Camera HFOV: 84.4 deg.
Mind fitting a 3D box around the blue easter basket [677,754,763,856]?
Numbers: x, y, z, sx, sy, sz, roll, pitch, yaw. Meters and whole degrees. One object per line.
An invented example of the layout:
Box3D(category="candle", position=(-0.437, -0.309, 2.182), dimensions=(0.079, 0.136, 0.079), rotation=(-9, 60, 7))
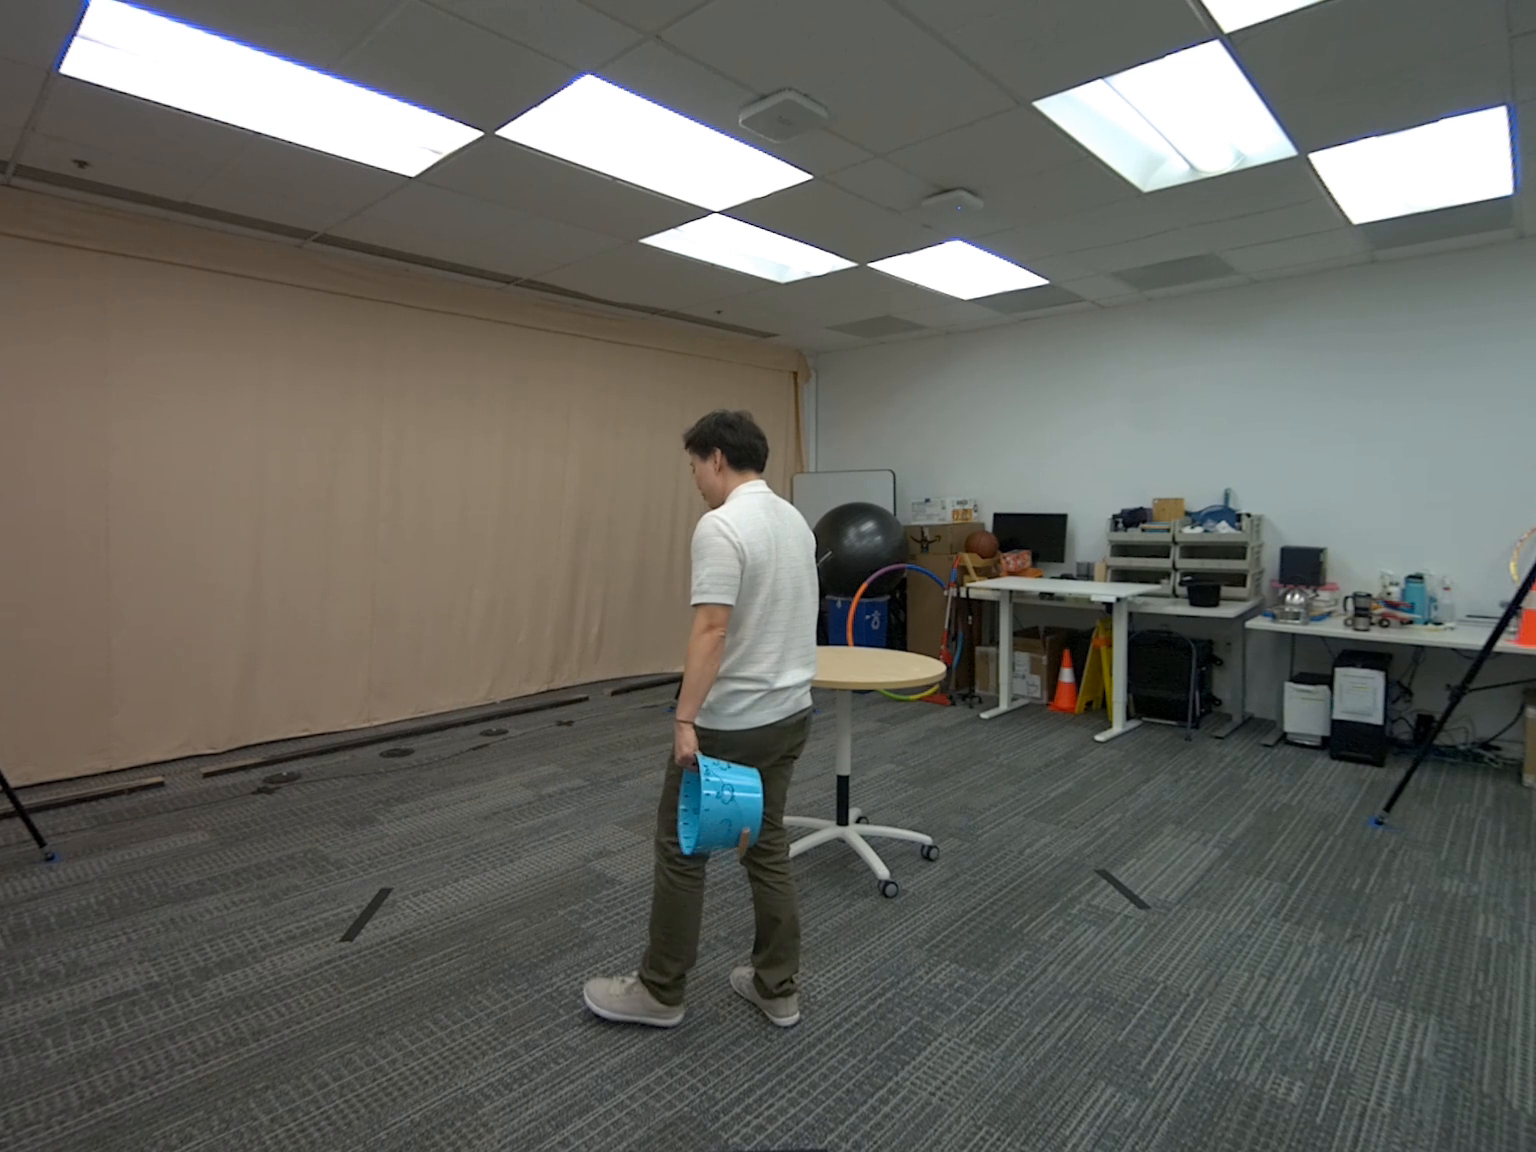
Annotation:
Box3D(category="blue easter basket", position=(-0.139, 0.536, 2.009), dimensions=(0.153, 0.243, 0.248), rotation=(8, 2, -16))
